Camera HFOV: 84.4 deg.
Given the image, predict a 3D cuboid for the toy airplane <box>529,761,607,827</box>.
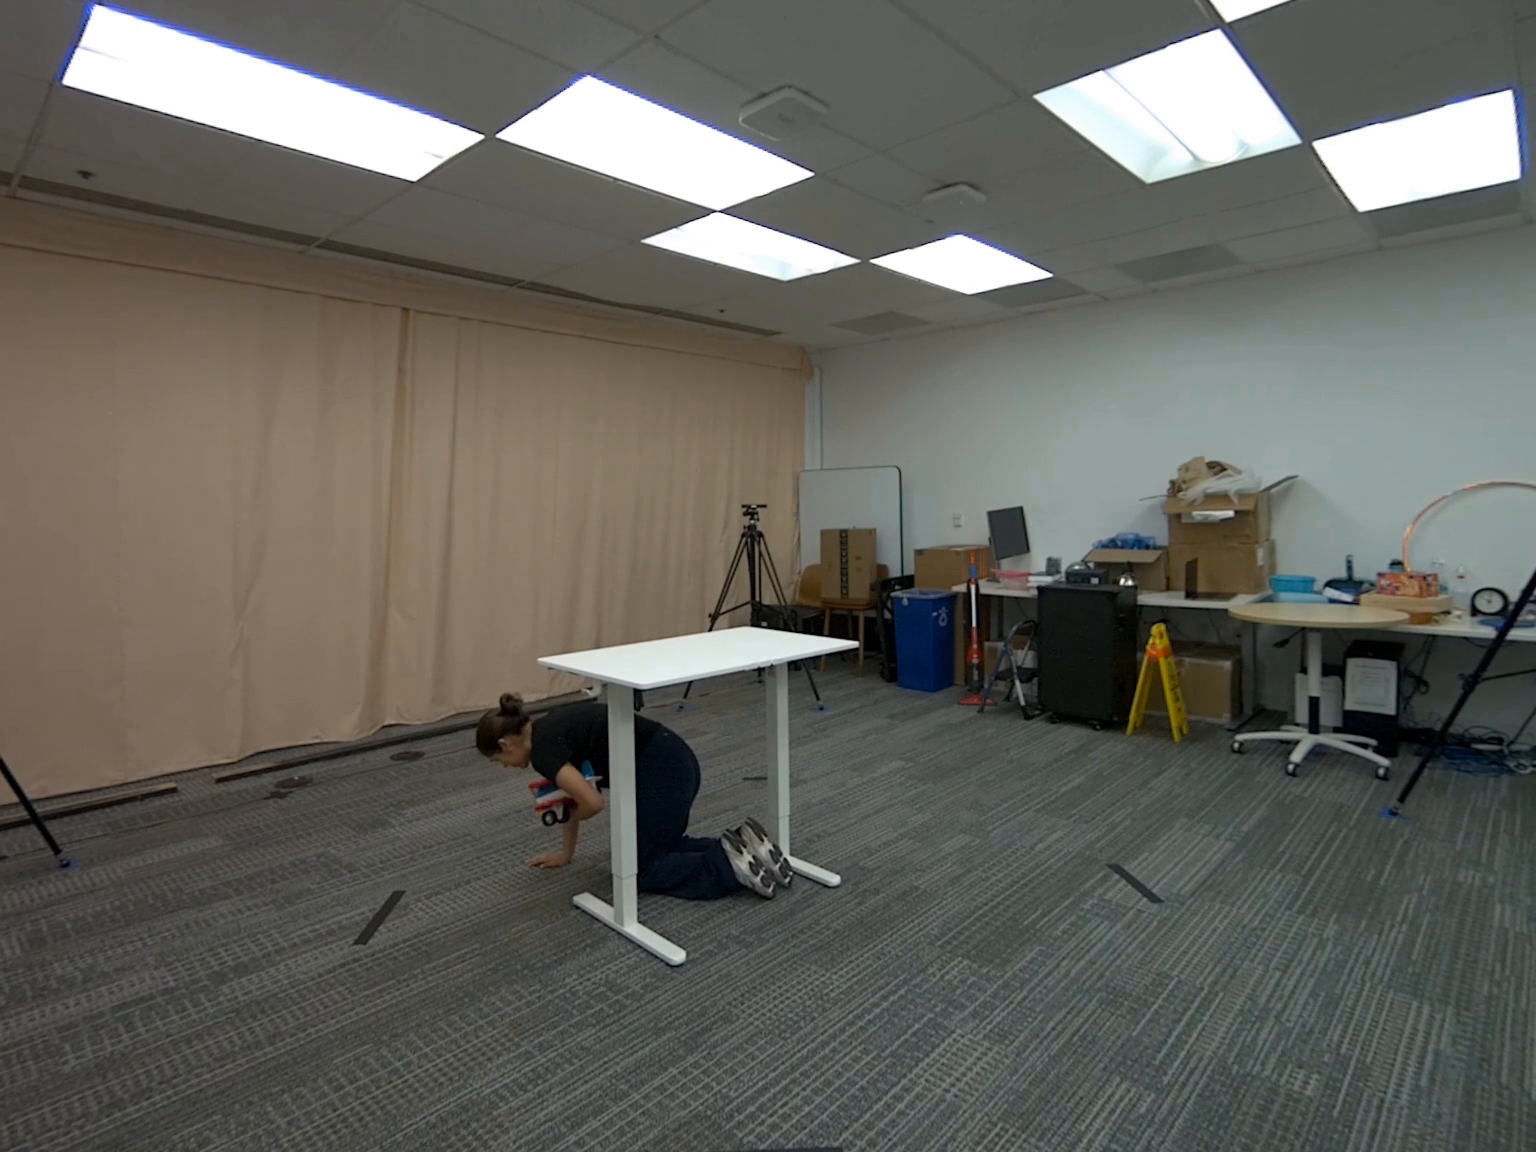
[{"bbox_3d":[-0.710,0.778,3.044,0.257,0.160,0.248,-28,-21,-15],"label":"toy airplane"}]
